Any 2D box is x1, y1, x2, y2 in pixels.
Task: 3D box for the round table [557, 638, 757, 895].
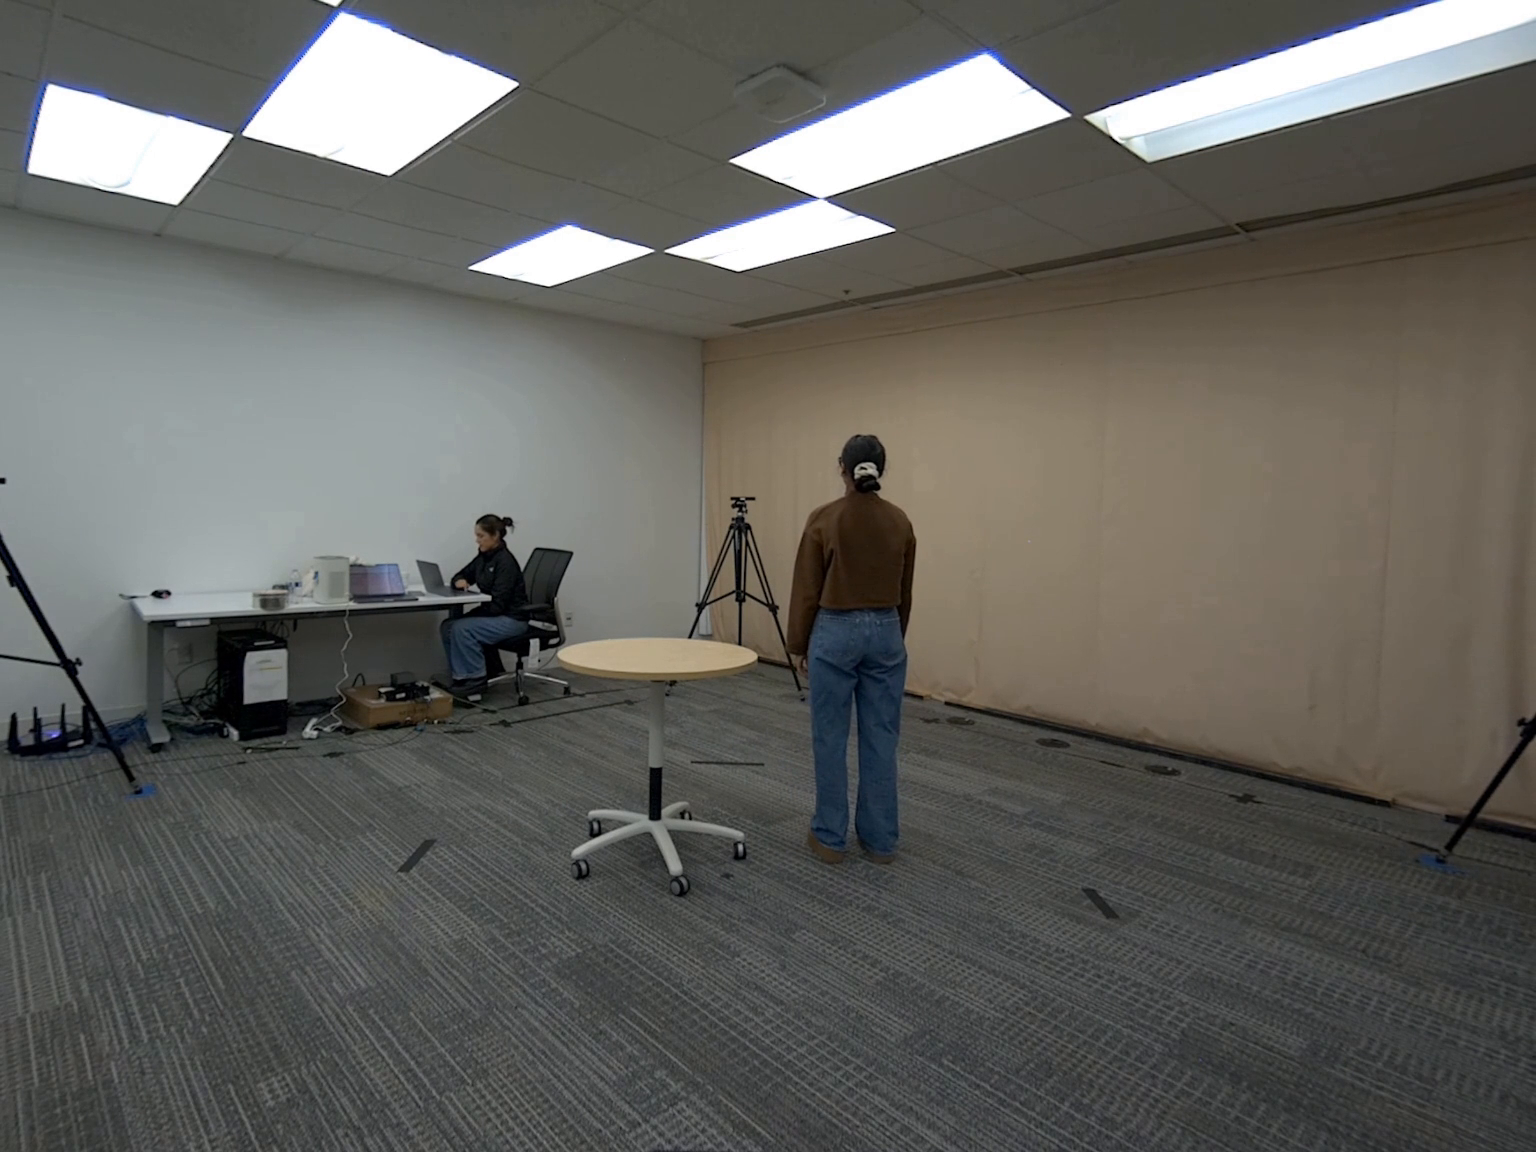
[{"bbox_3d":[-0.440,0.697,3.260,0.763,0.792,0.766,1,3,-1],"label":"round table"}]
